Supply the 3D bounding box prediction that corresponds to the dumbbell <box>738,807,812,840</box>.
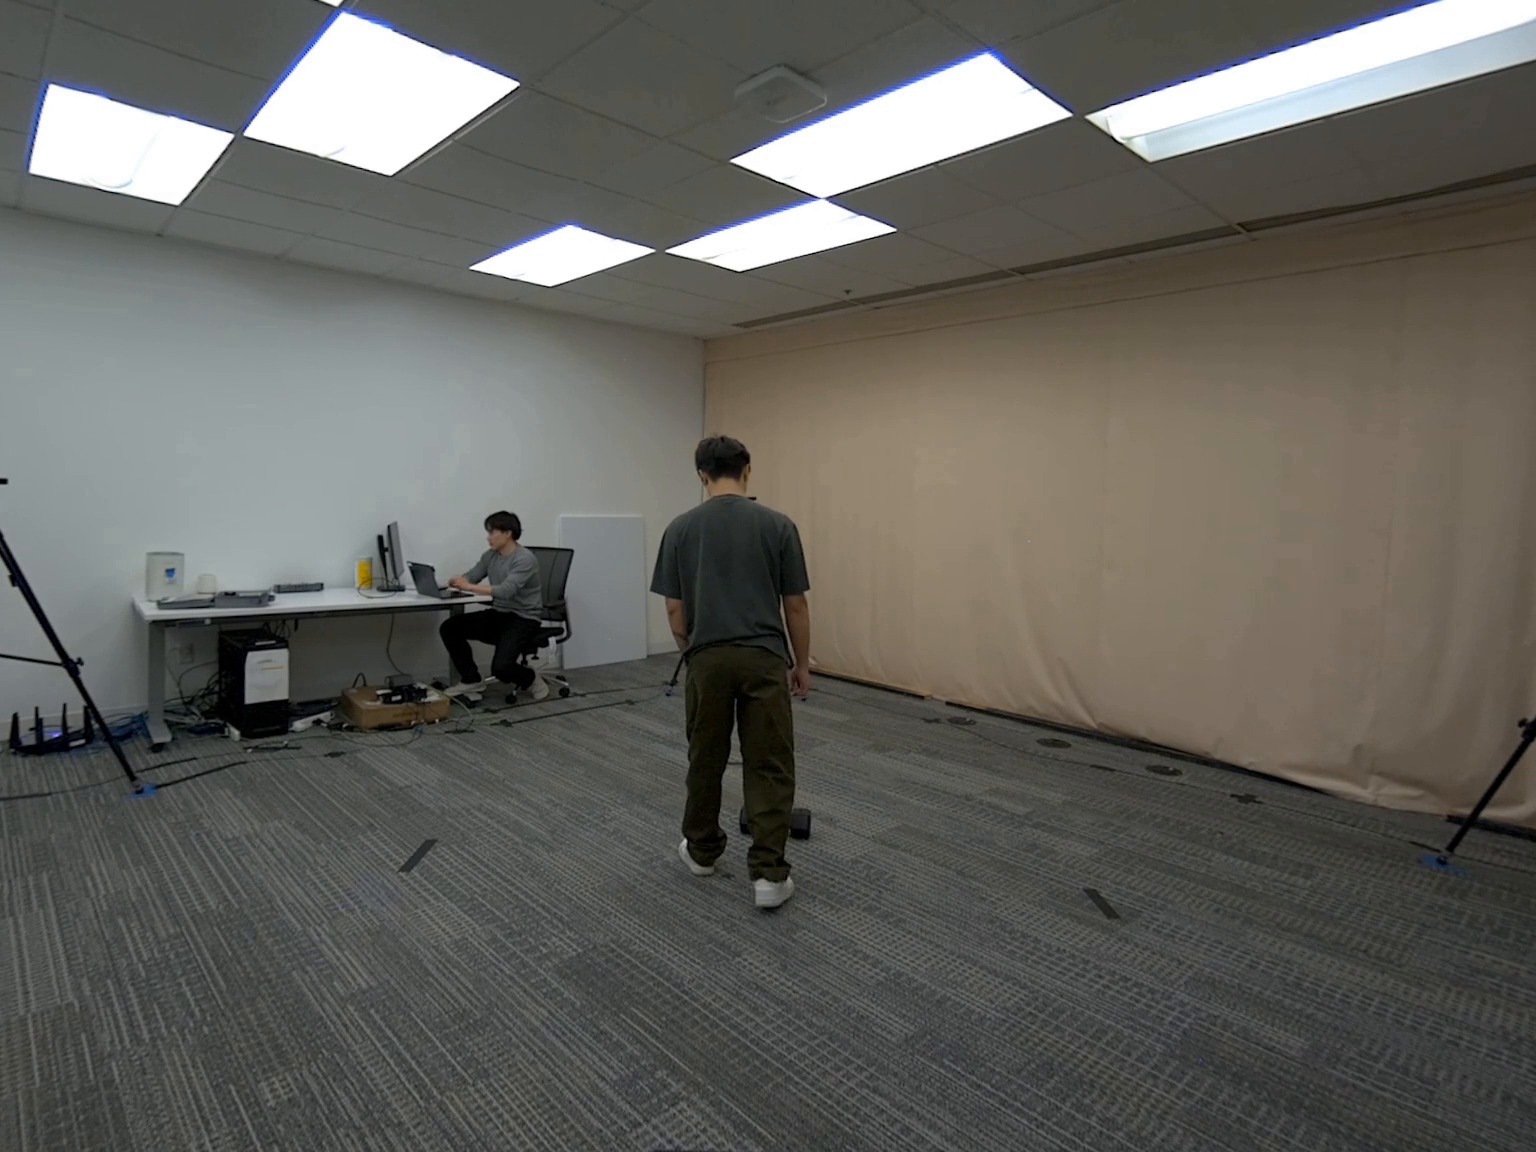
[{"bbox_3d":[0.022,1.024,3.508,0.296,0.125,0.106,2,-26,9],"label":"dumbbell"}]
